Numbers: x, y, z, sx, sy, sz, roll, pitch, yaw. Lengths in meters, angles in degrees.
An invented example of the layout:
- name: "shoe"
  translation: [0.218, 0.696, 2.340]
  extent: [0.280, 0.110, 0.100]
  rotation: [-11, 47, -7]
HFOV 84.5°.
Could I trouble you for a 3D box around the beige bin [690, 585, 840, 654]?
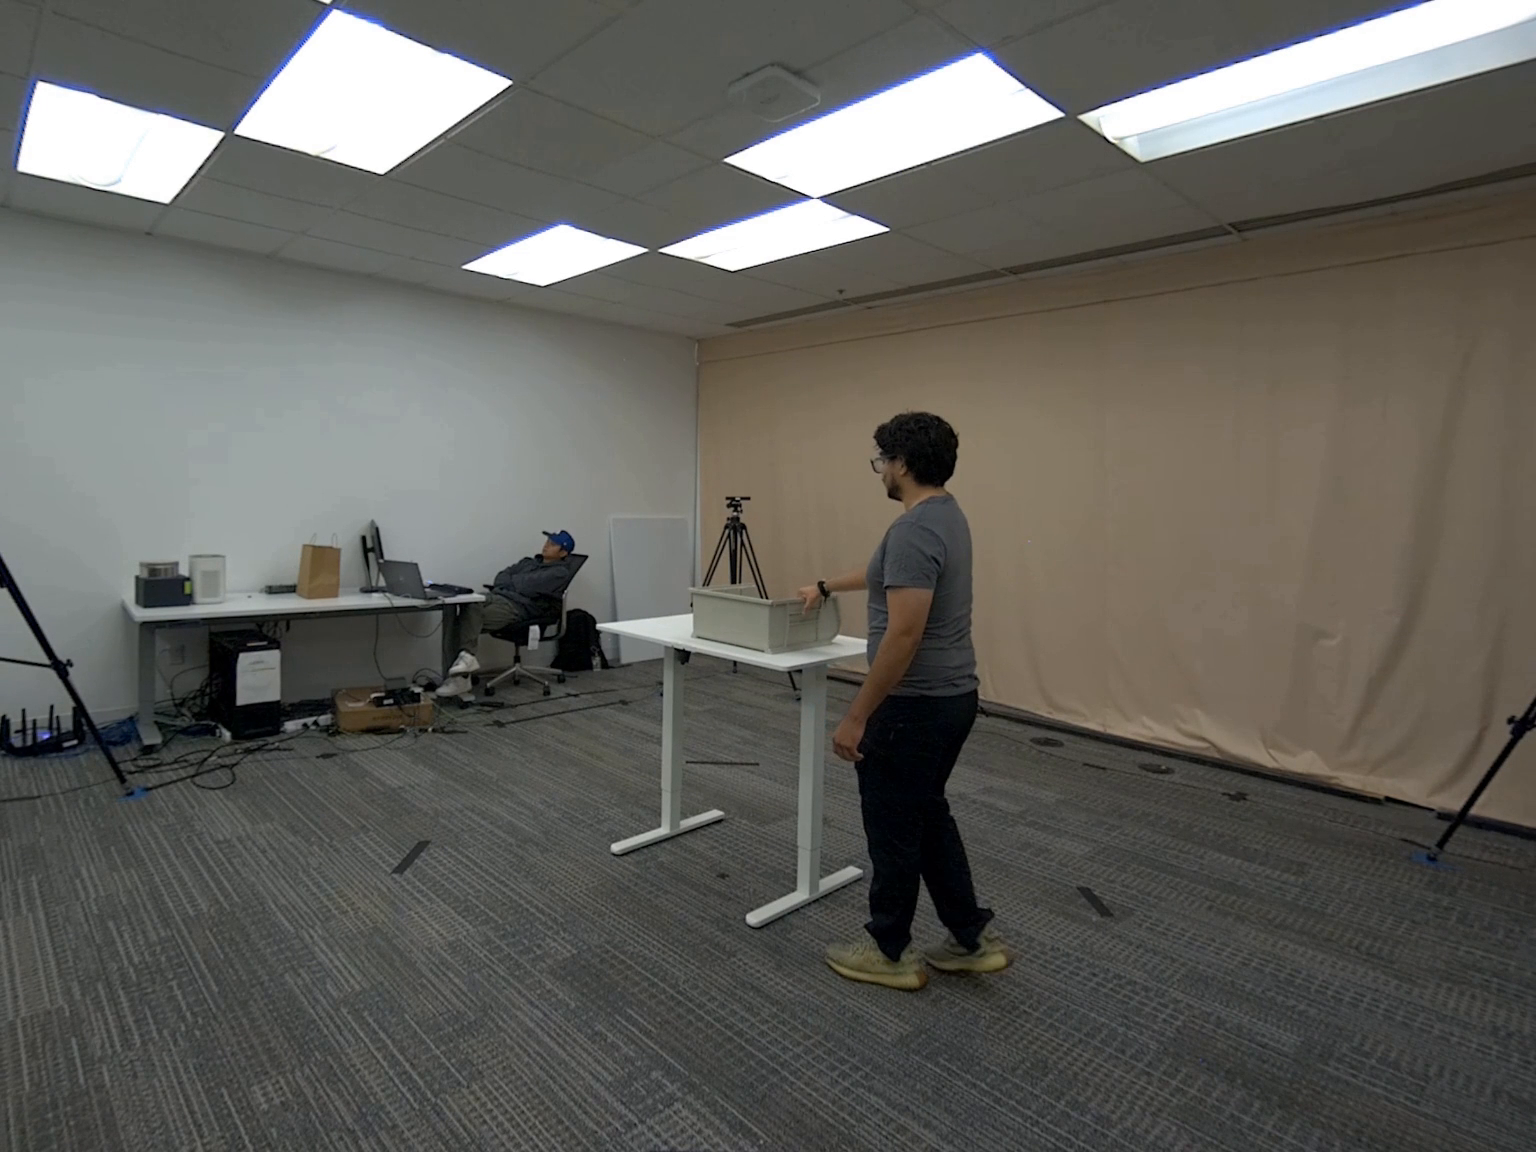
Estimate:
- name: "beige bin"
  translation: [-0.018, 0.144, 3.034]
  extent: [0.369, 0.188, 0.433]
  rotation: [-6, 9, -44]
